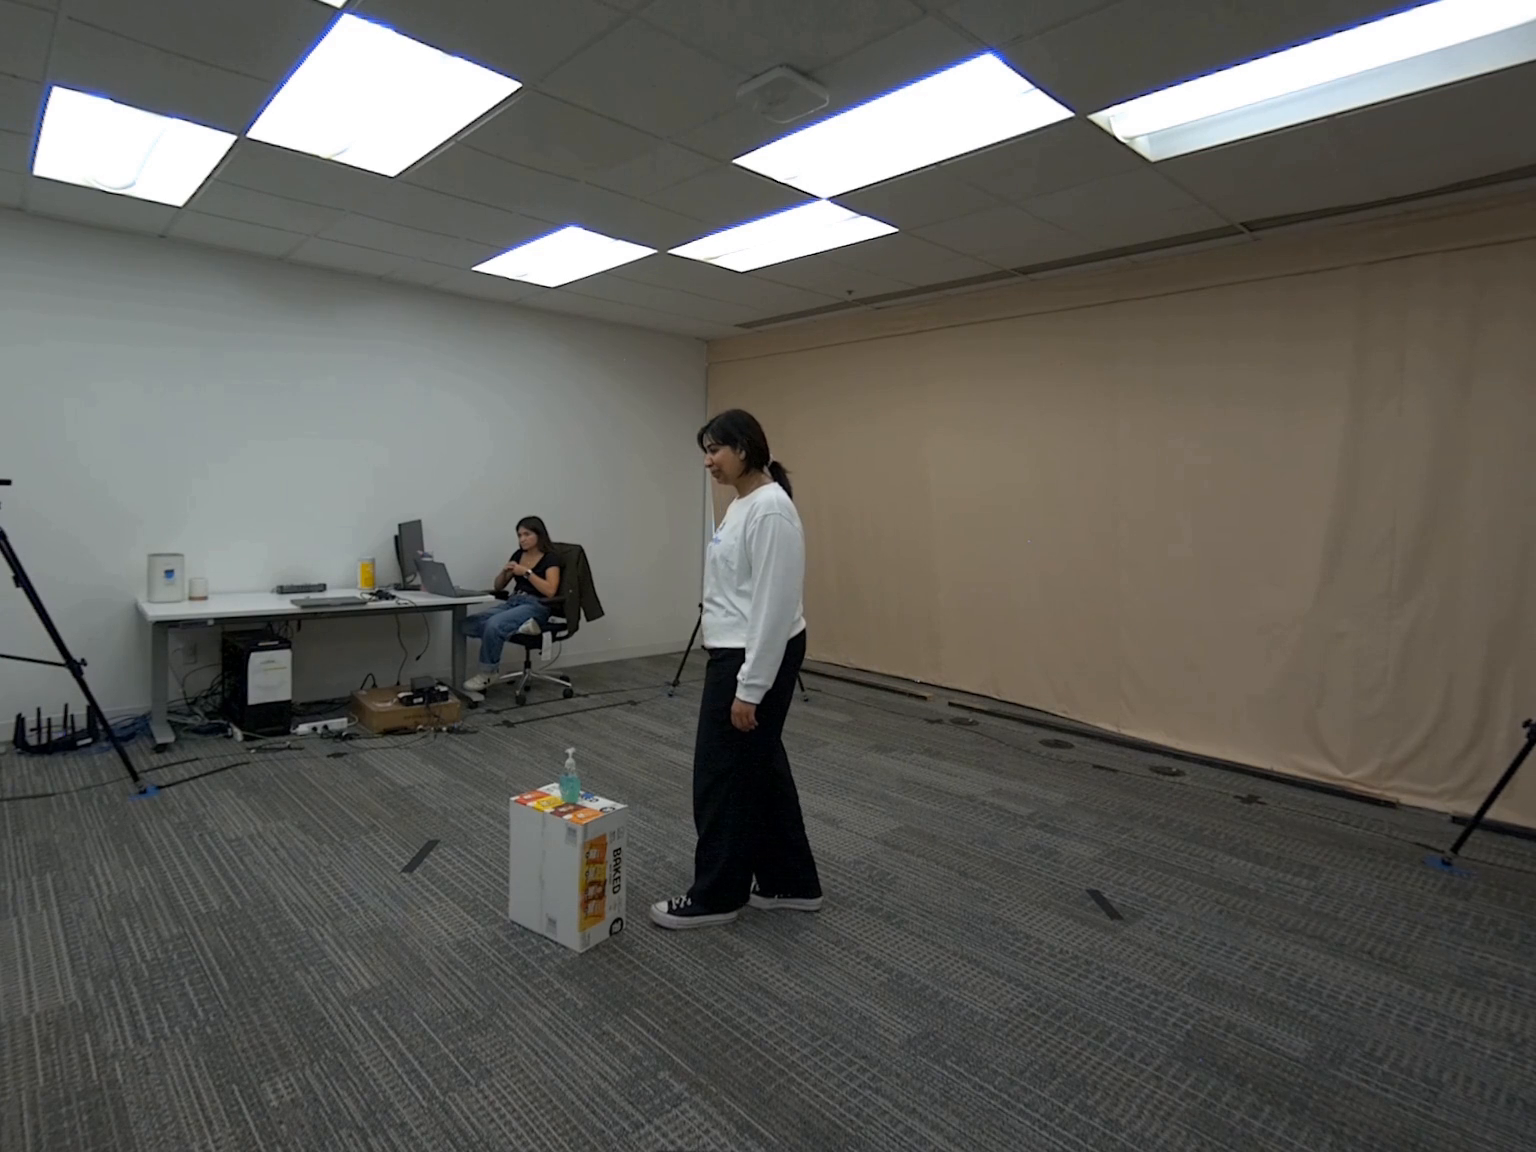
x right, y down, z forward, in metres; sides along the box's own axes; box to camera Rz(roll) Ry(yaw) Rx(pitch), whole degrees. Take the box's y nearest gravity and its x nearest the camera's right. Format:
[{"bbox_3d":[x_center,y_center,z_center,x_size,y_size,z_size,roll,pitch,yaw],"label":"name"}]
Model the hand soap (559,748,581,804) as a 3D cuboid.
[{"bbox_3d":[-0.637,0.644,2.723,0.086,0.167,0.042,6,8,29],"label":"hand soap"}]
